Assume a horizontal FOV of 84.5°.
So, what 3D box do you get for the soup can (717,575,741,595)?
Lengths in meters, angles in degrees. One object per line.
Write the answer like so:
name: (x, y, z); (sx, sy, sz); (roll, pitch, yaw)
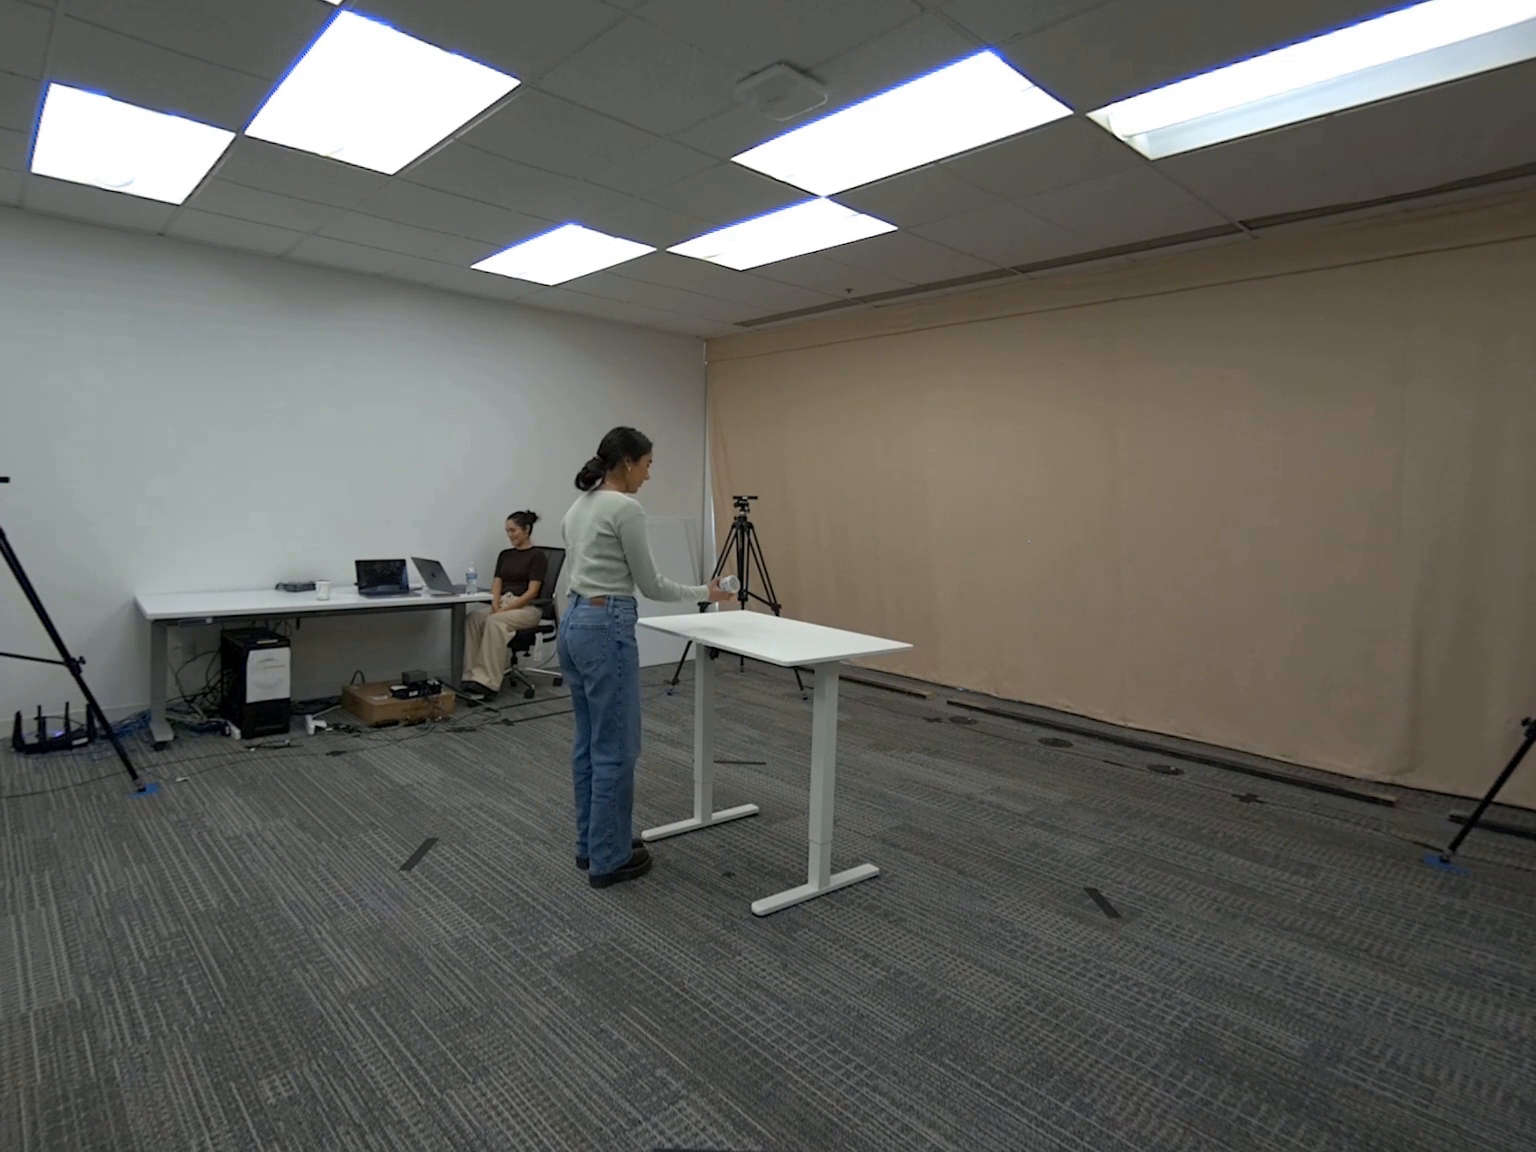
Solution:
soup can: (-0.181, 0.047, 3.262); (0.123, 0.067, 0.066); (-18, -4, 23)
